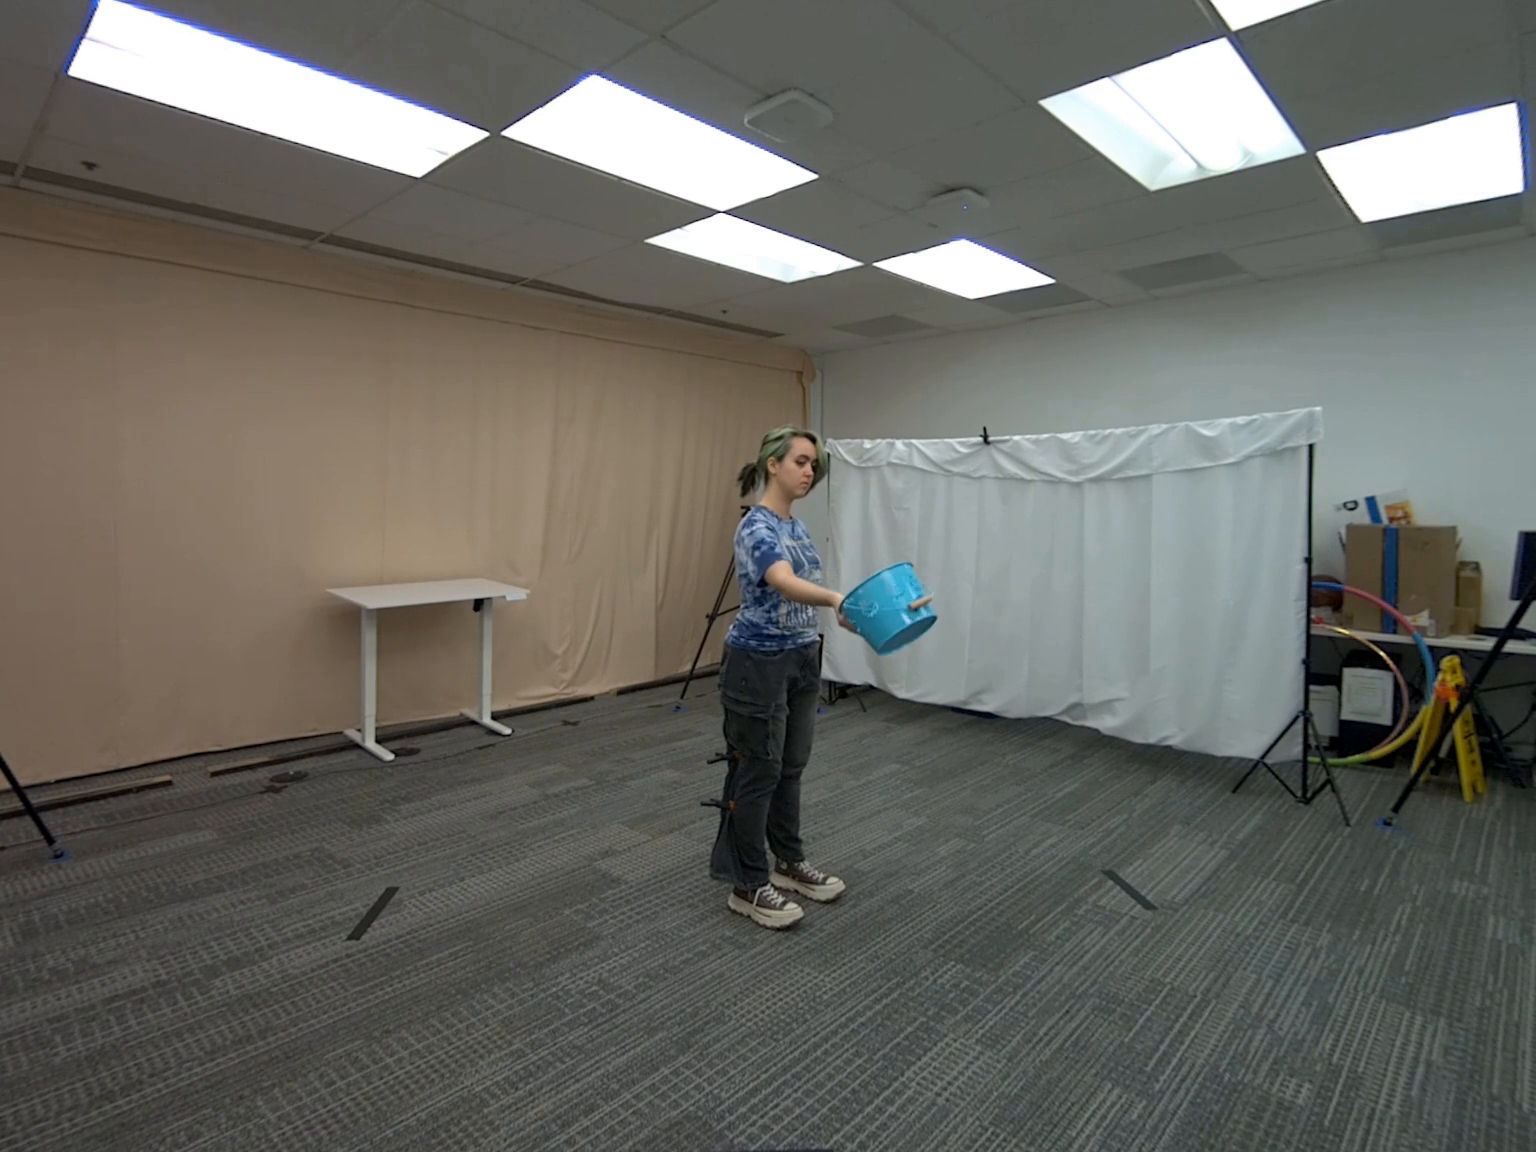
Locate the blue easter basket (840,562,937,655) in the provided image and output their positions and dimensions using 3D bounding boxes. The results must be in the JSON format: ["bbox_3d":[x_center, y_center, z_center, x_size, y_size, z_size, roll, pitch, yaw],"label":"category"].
[{"bbox_3d":[0.317,0.096,2.186,0.241,0.160,0.240,-25,-24,-14],"label":"blue easter basket"}]
